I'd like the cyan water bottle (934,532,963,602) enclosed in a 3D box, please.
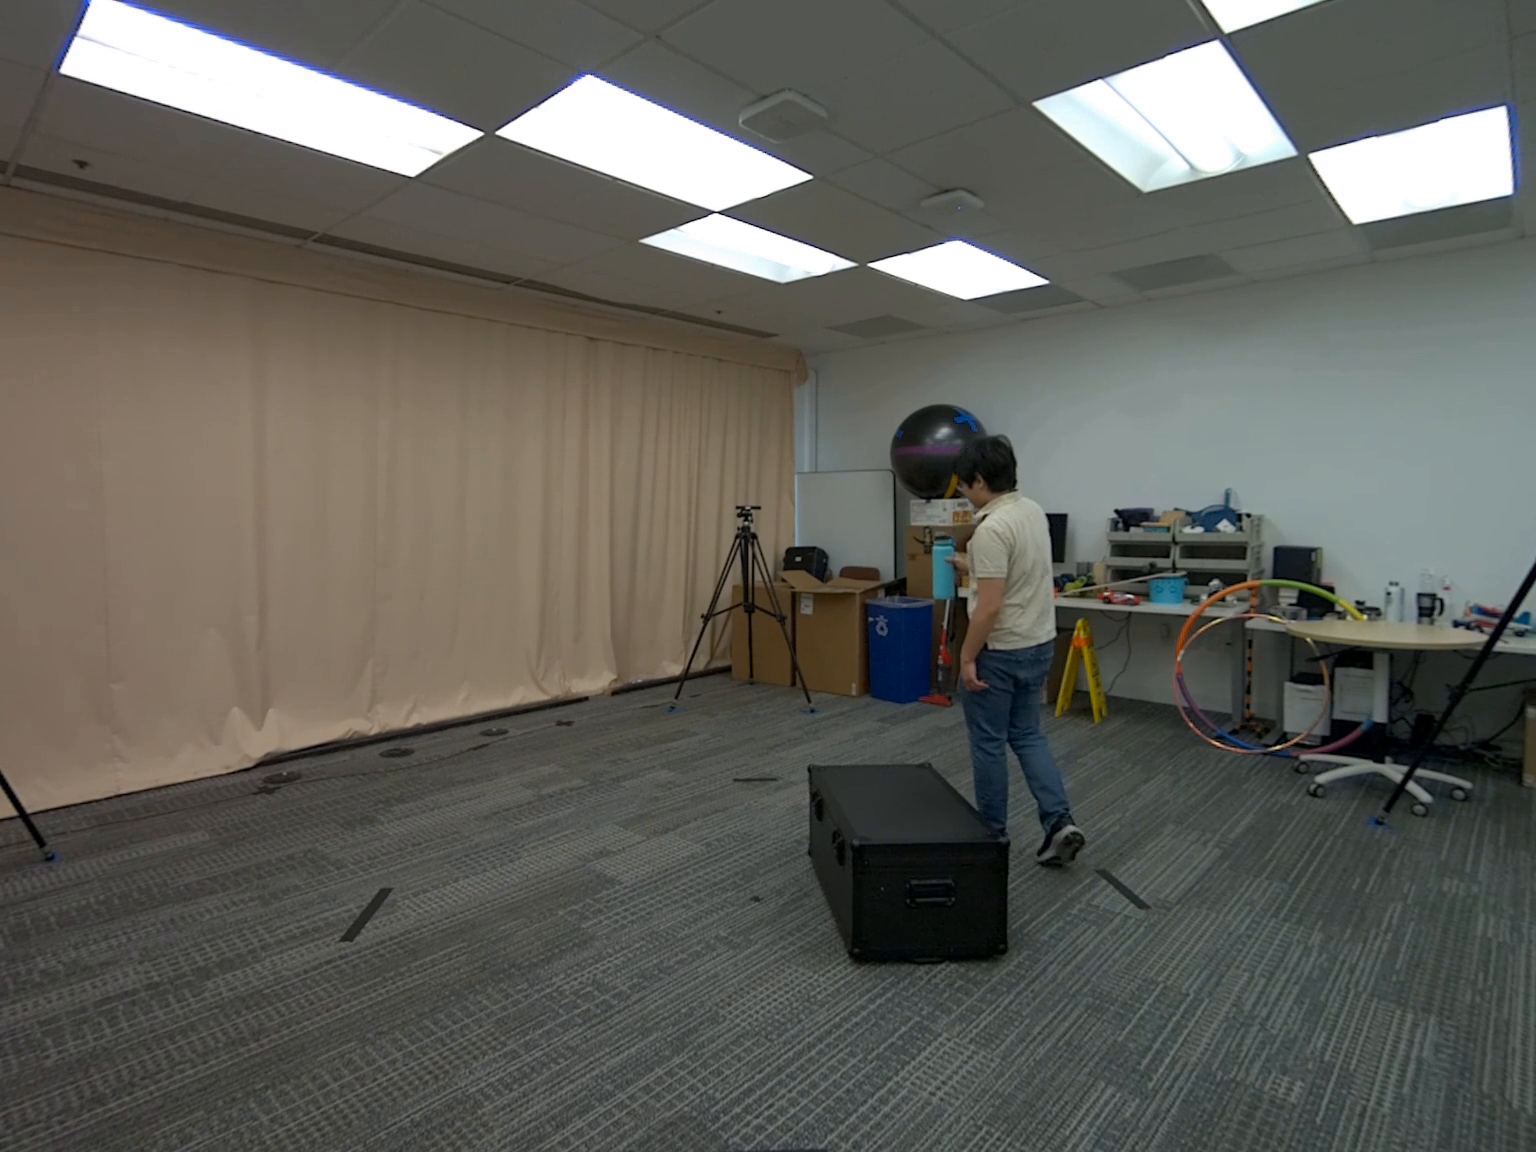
[{"bbox_3d":[0.765,-0.043,3.600,0.092,0.282,0.093,-1,4,-2],"label":"cyan water bottle"}]
